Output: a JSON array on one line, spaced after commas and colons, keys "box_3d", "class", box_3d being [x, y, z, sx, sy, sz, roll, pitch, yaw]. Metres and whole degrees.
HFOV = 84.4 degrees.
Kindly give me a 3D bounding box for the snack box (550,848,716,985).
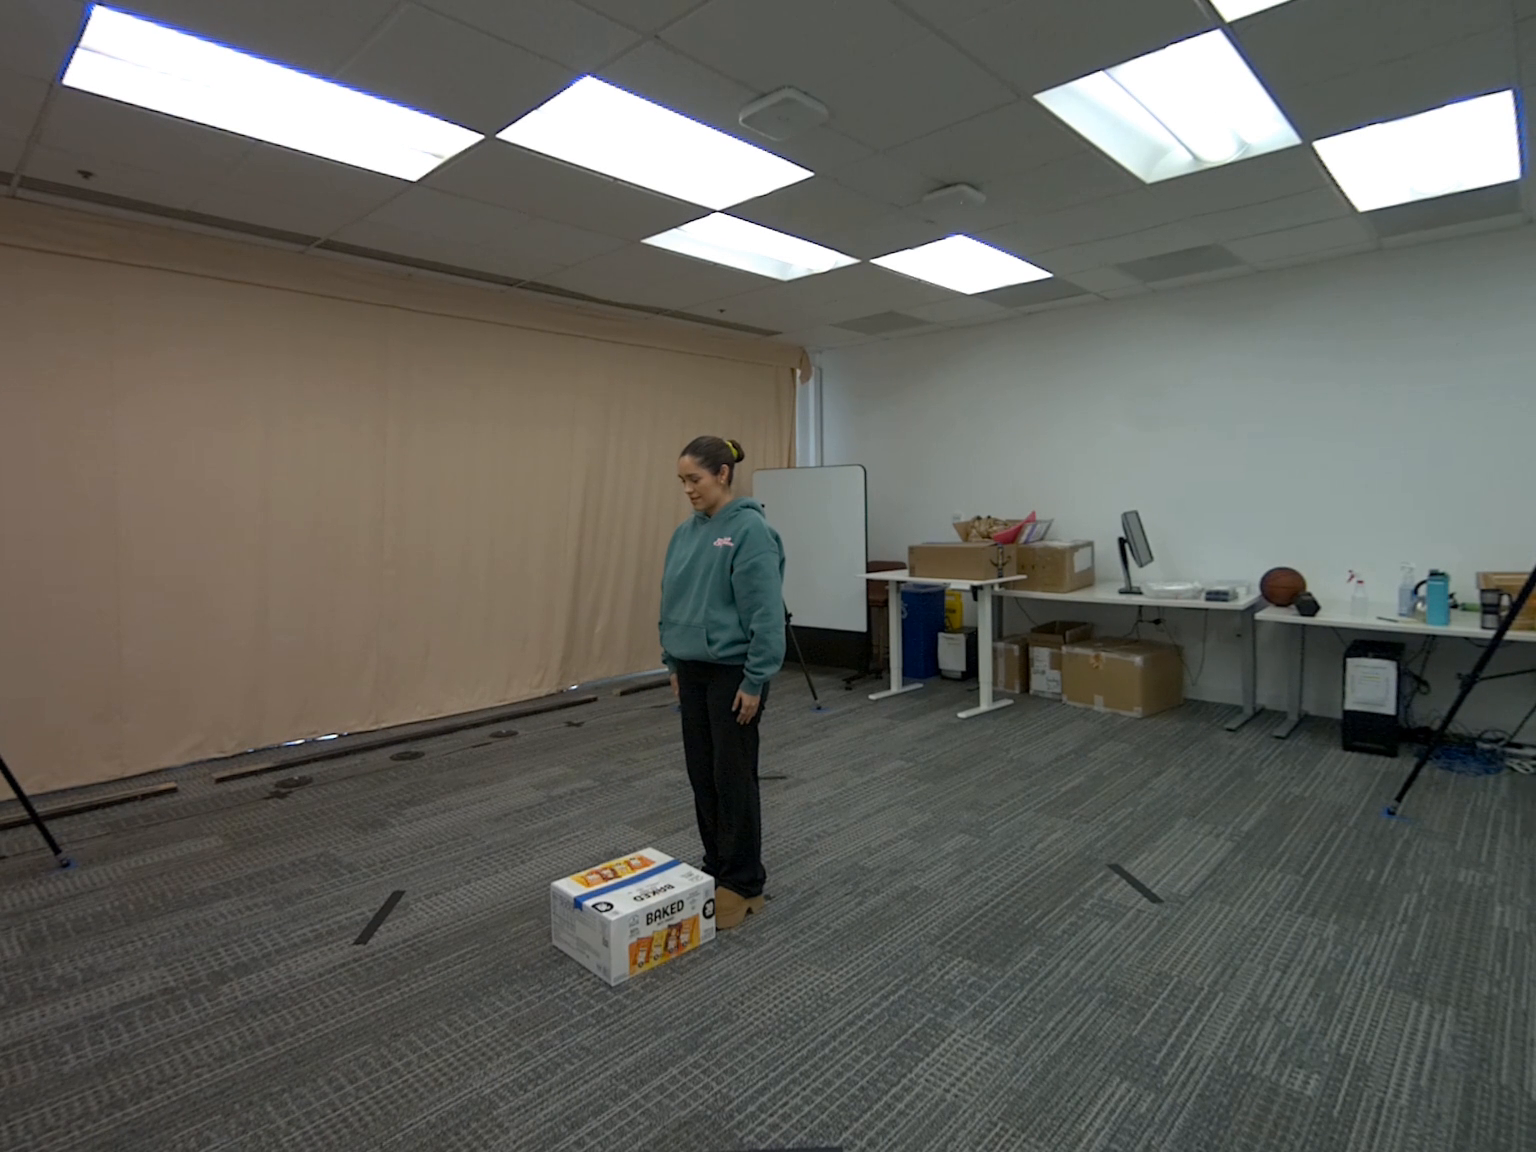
[{"box_3d": [-0.432, 1.075, 2.685, 0.393, 0.205, 0.351, -5, 6, -43], "class": "snack box"}]
